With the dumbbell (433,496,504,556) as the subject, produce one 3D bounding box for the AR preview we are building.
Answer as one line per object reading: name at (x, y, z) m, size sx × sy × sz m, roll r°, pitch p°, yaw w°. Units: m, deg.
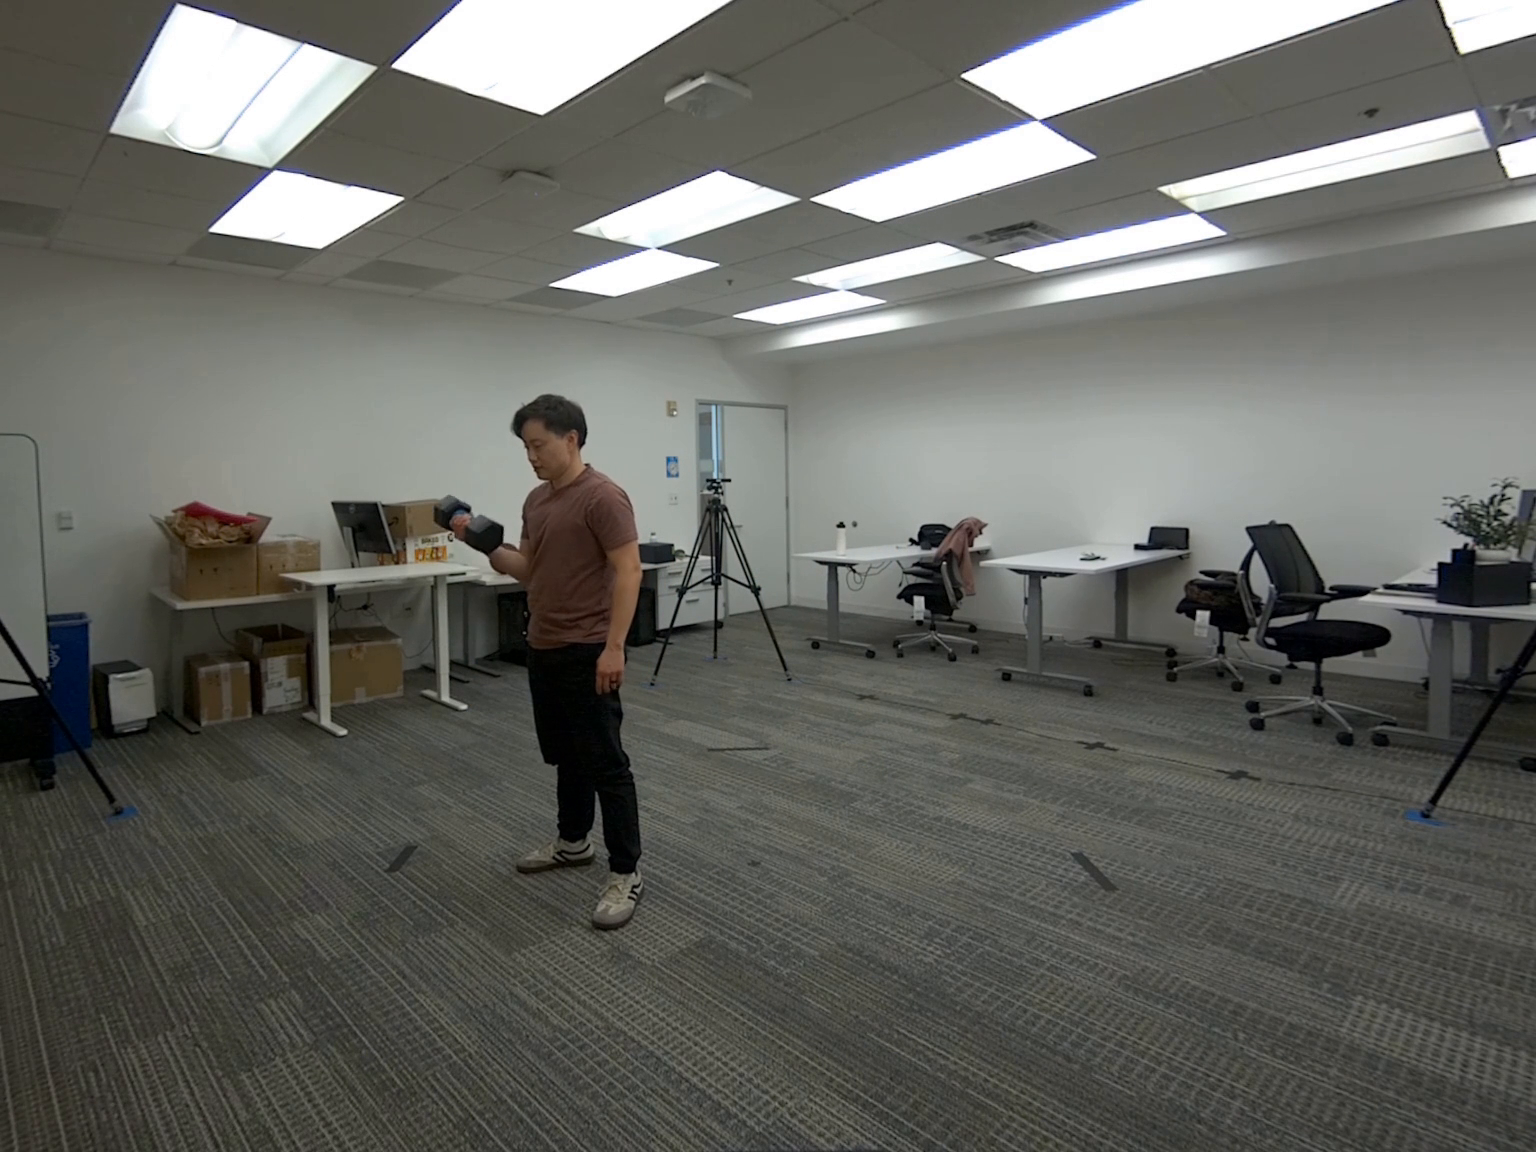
dumbbell at (-0.990, -0.166, 2.833) m, size 0.305 × 0.121 × 0.106 m, roll 27°, pitch 26°, yaw 38°
